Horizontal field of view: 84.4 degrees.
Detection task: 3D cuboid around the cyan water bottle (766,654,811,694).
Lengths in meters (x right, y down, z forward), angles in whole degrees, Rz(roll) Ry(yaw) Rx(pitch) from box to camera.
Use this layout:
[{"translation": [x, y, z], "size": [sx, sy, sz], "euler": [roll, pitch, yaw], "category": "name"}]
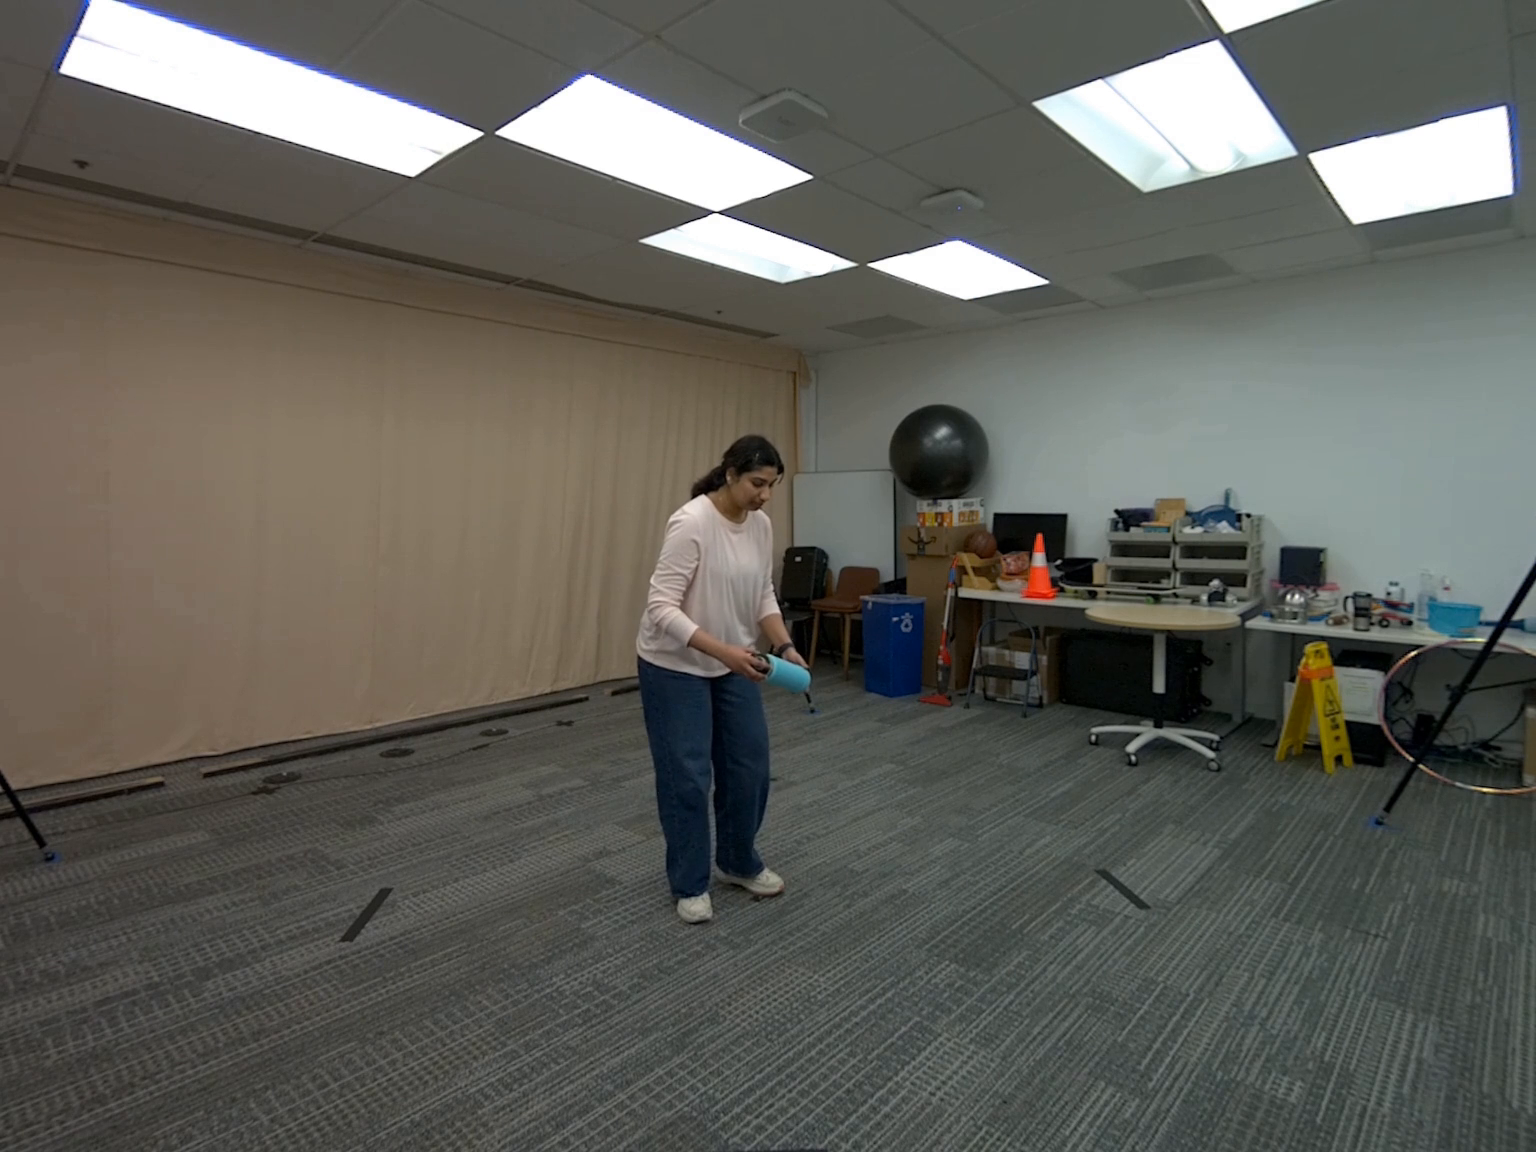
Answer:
[{"translation": [0.020, 0.315, 2.742], "size": [0.095, 0.093, 0.274], "euler": [2, -15, 29], "category": "cyan water bottle"}]
